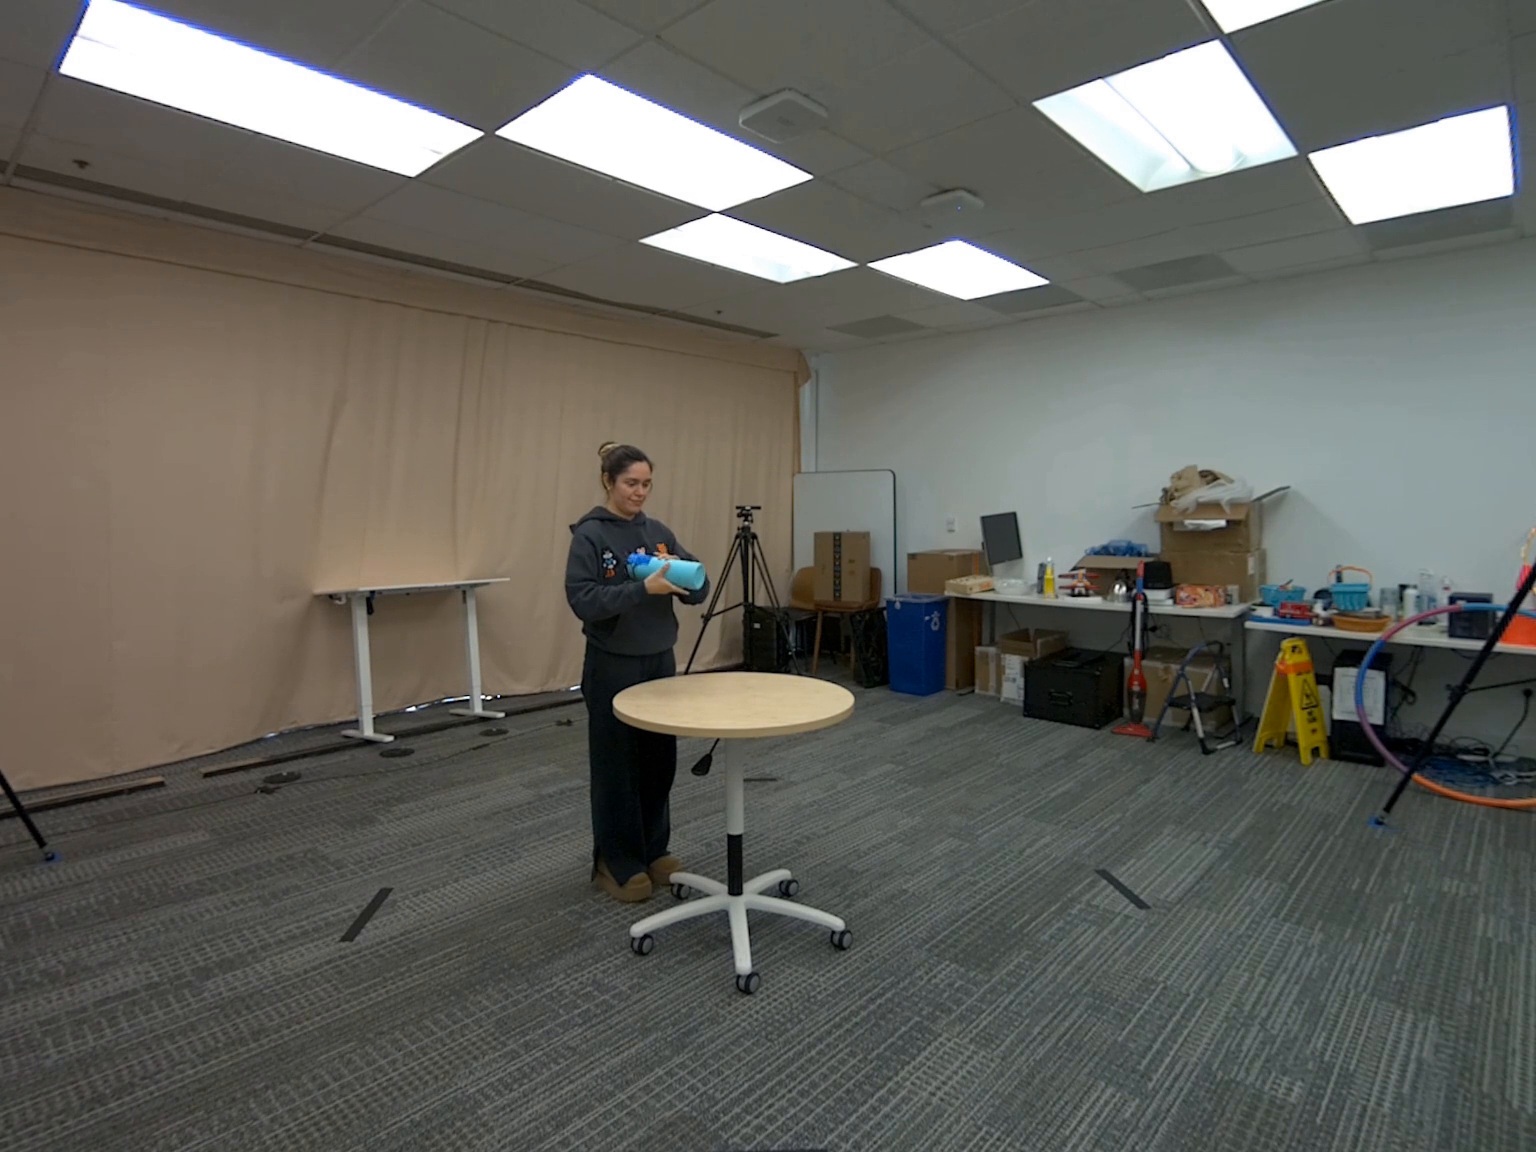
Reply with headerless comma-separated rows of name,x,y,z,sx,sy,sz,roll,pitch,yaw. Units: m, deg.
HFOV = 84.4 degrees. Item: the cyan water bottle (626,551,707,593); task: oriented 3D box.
cyan water bottle,-0.340,-0.017,2.844,0.289,0.092,0.090,7,6,19
